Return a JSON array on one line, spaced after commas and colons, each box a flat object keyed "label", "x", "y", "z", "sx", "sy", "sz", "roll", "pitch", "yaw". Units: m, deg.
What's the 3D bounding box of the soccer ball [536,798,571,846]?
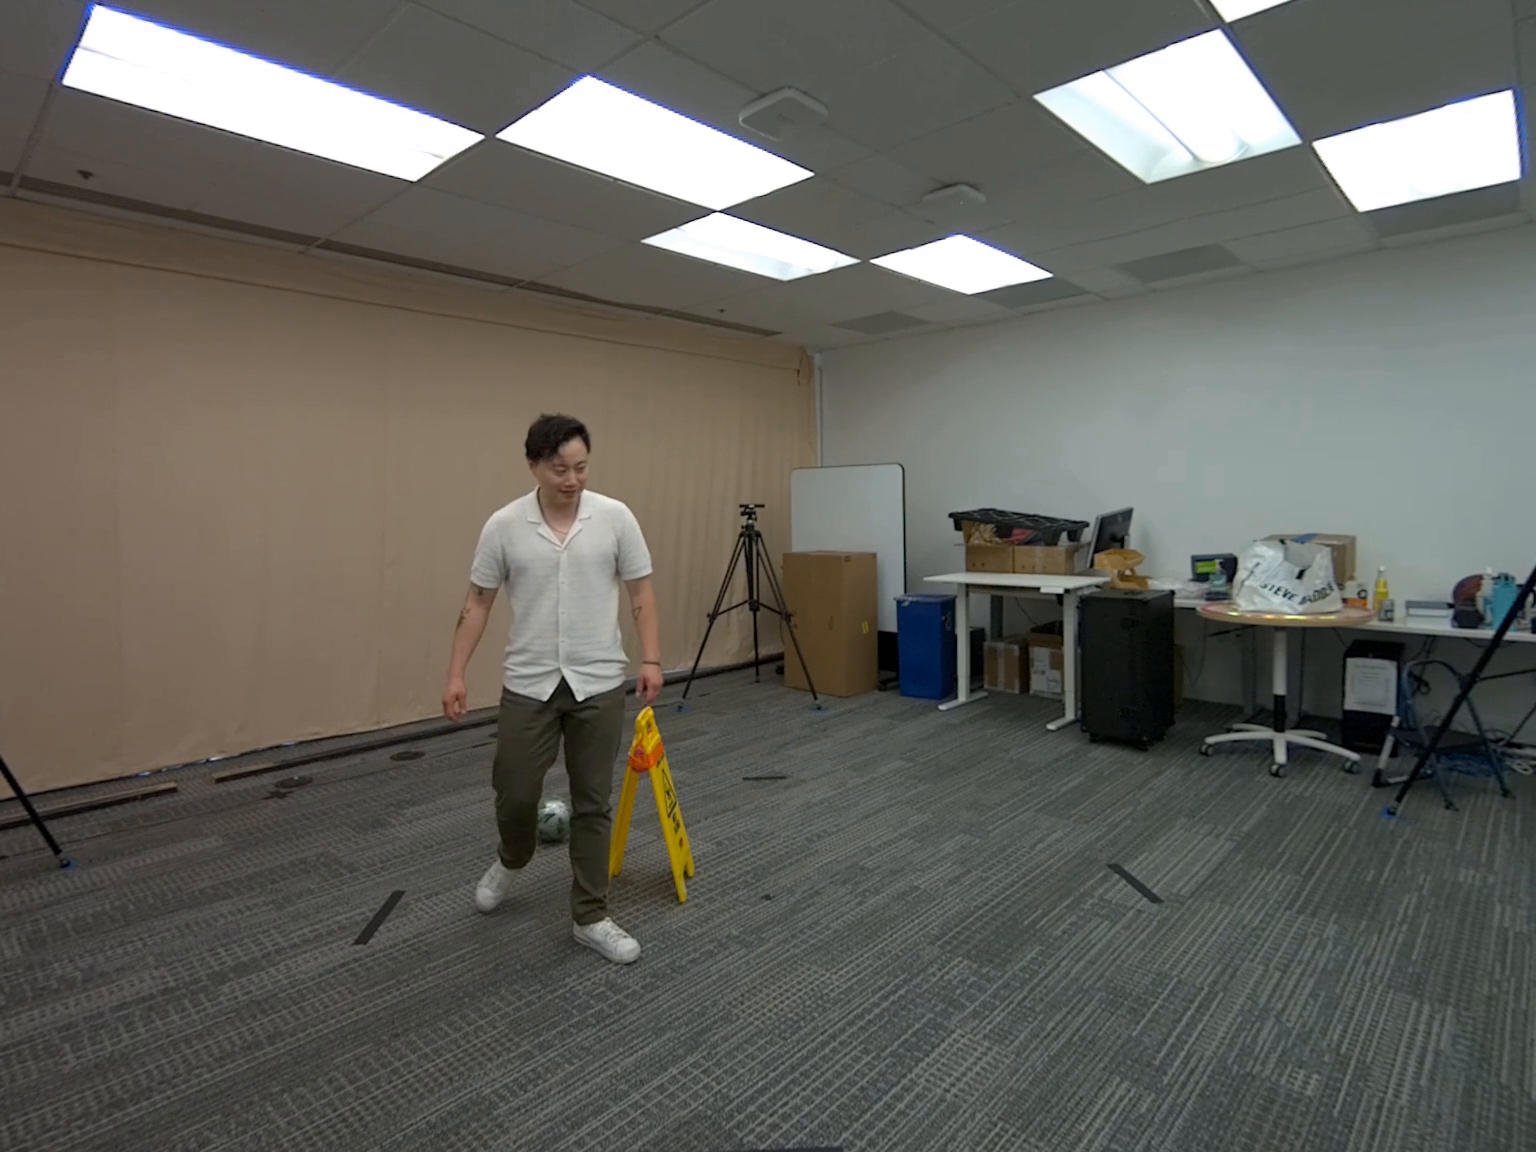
[{"label": "soccer ball", "x": -0.904, "y": 1.025, "z": 3.544, "sx": 0.187, "sy": 0.187, "sz": 0.188, "roll": -1, "pitch": 4, "yaw": -2}]
